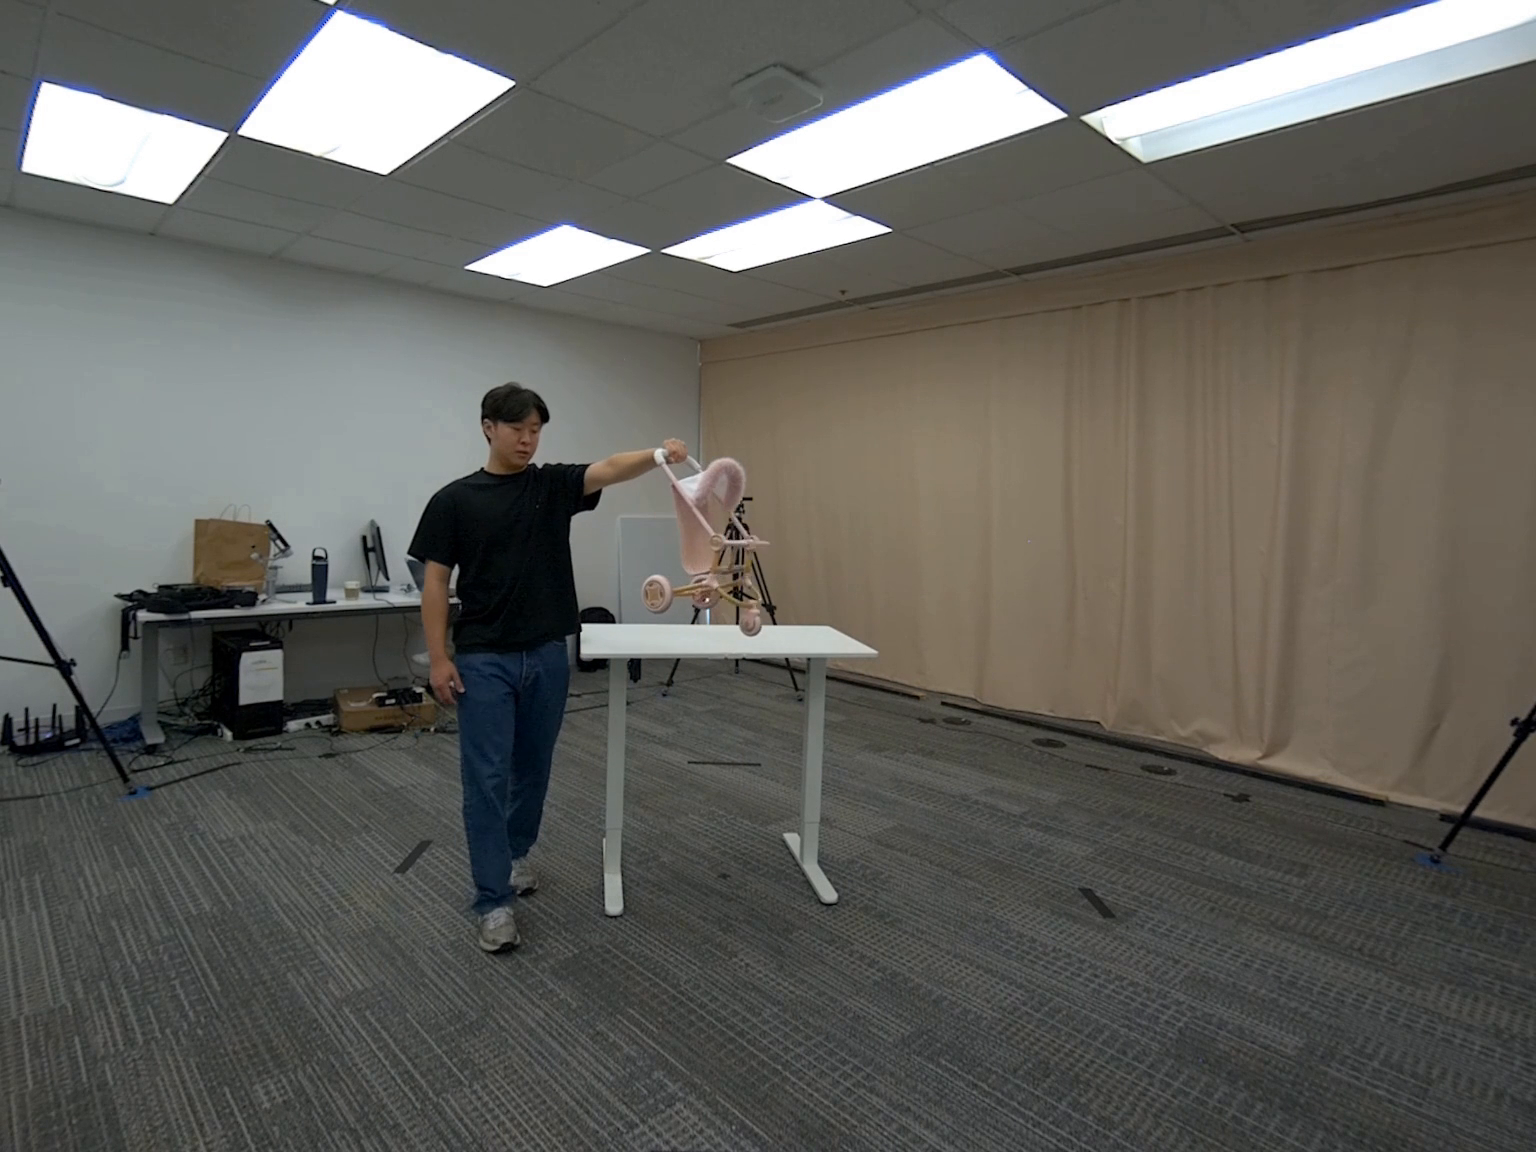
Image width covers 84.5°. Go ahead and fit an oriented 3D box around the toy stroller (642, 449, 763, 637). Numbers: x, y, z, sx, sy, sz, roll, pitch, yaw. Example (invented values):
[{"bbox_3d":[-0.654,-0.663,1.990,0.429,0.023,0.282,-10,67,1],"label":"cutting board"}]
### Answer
[{"bbox_3d":[-0.167,-0.103,2.432,0.349,0.535,0.275,0,-1,34],"label":"toy stroller"}]
